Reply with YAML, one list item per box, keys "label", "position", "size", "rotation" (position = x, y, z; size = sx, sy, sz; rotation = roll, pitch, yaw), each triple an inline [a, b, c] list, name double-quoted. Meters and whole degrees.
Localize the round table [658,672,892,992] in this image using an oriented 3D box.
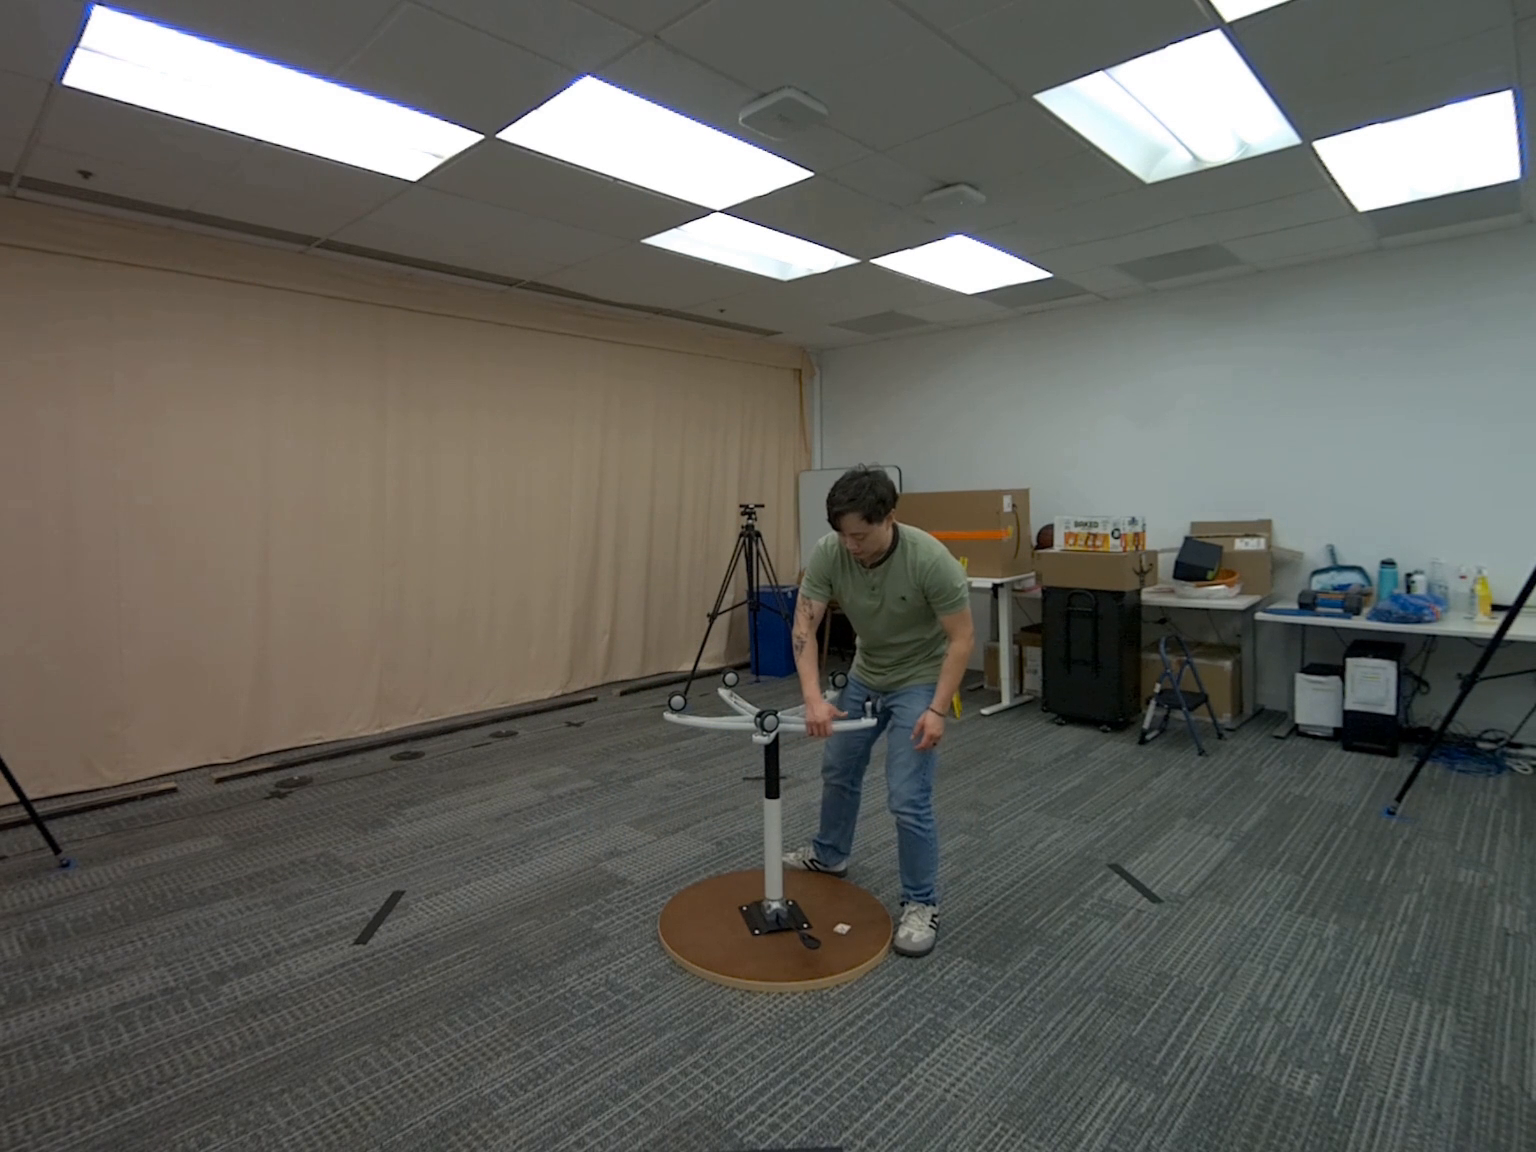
- label: "round table"
  position: [0.012, 0.765, 2.763]
  size: [0.763, 0.792, 0.766]
  rotation: [-1, 3, -2]
